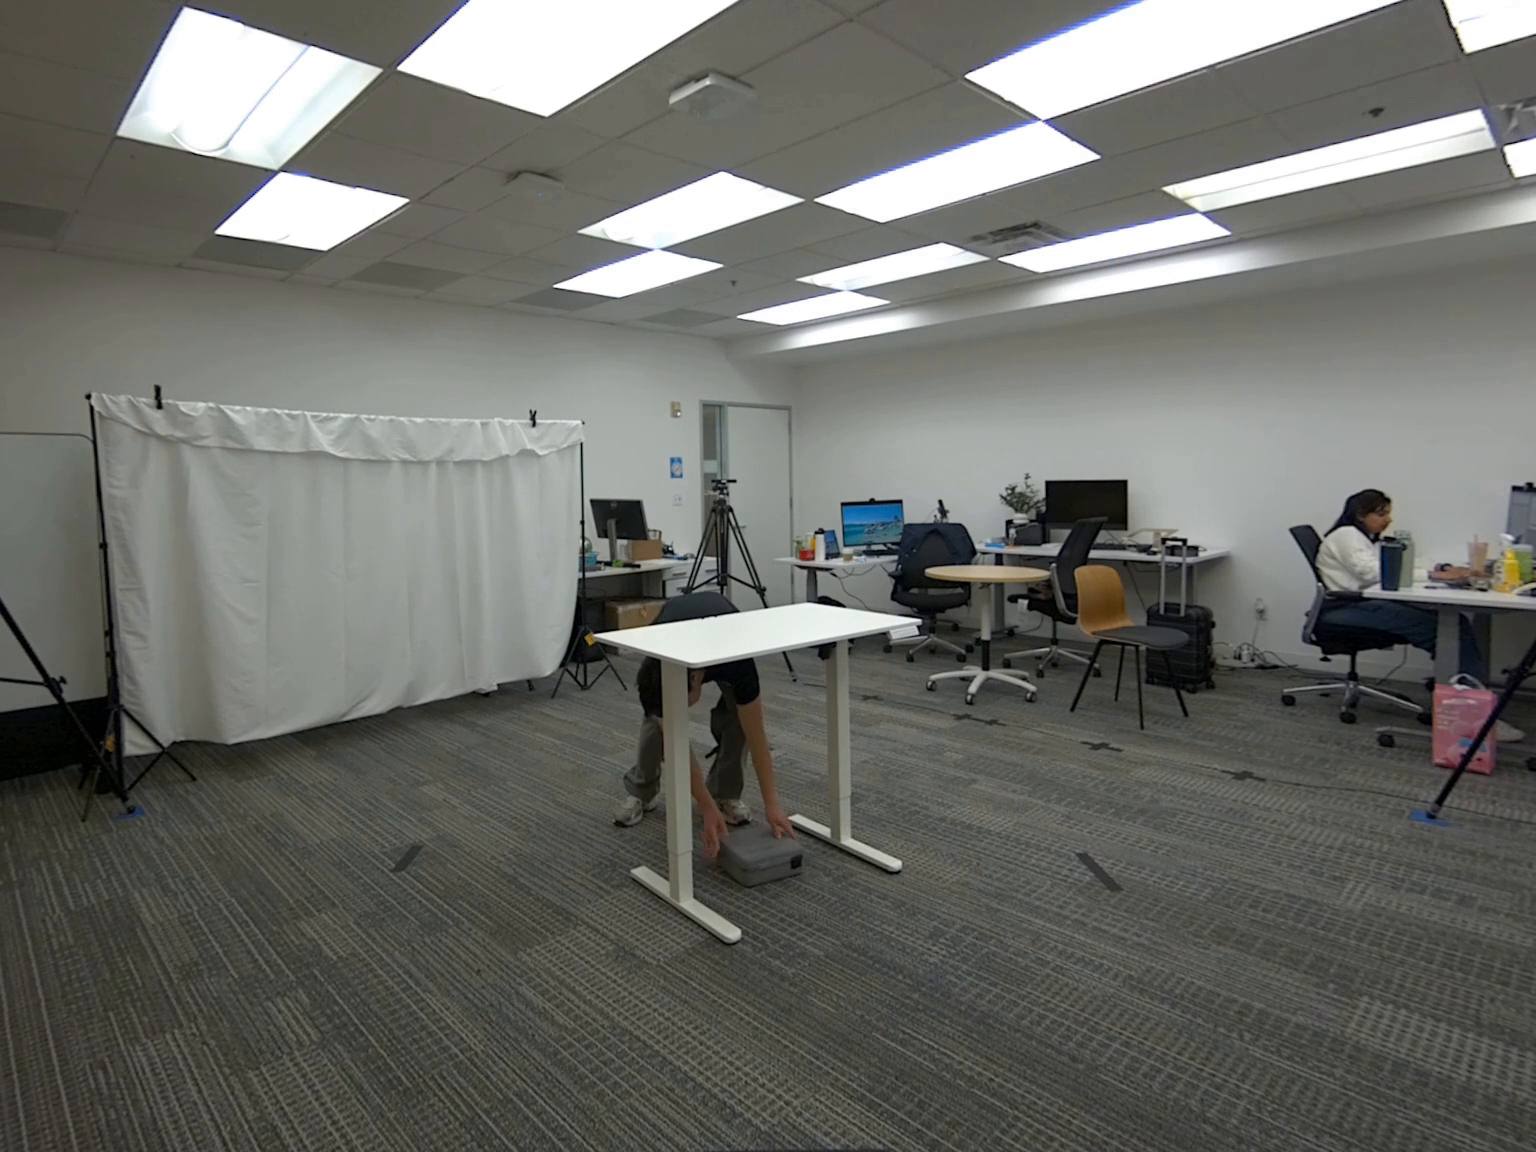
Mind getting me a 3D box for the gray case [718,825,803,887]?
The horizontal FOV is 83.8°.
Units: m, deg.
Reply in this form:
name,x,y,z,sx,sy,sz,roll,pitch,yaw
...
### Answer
name,x,y,z,sx,sy,sz,roll,pitch,yaw
gray case,-0.032,1.000,3.060,0.257,0.102,0.295,-5,7,-29
